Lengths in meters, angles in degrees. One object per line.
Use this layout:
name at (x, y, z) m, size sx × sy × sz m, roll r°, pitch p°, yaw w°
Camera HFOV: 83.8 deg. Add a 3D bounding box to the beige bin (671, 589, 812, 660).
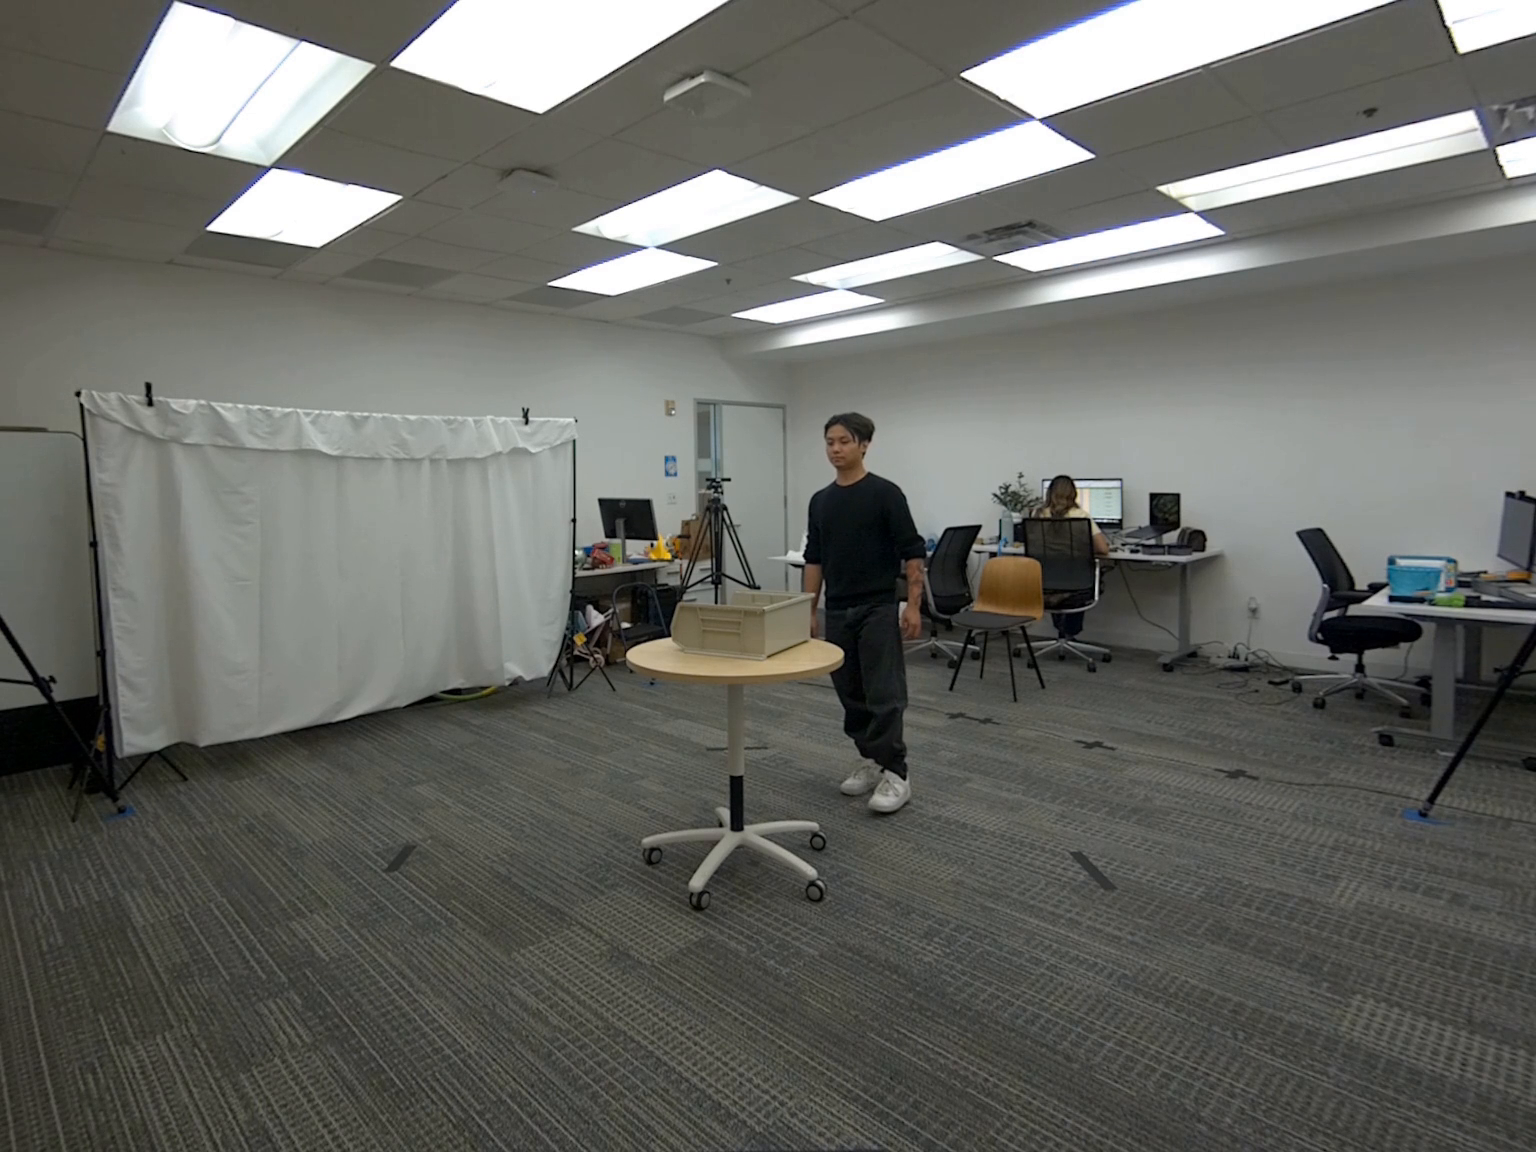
beige bin at (-0.079, 0.166, 3.119) m, size 0.387 × 0.188 × 0.413 m, roll 4°, pitch 7°, yaw 27°
